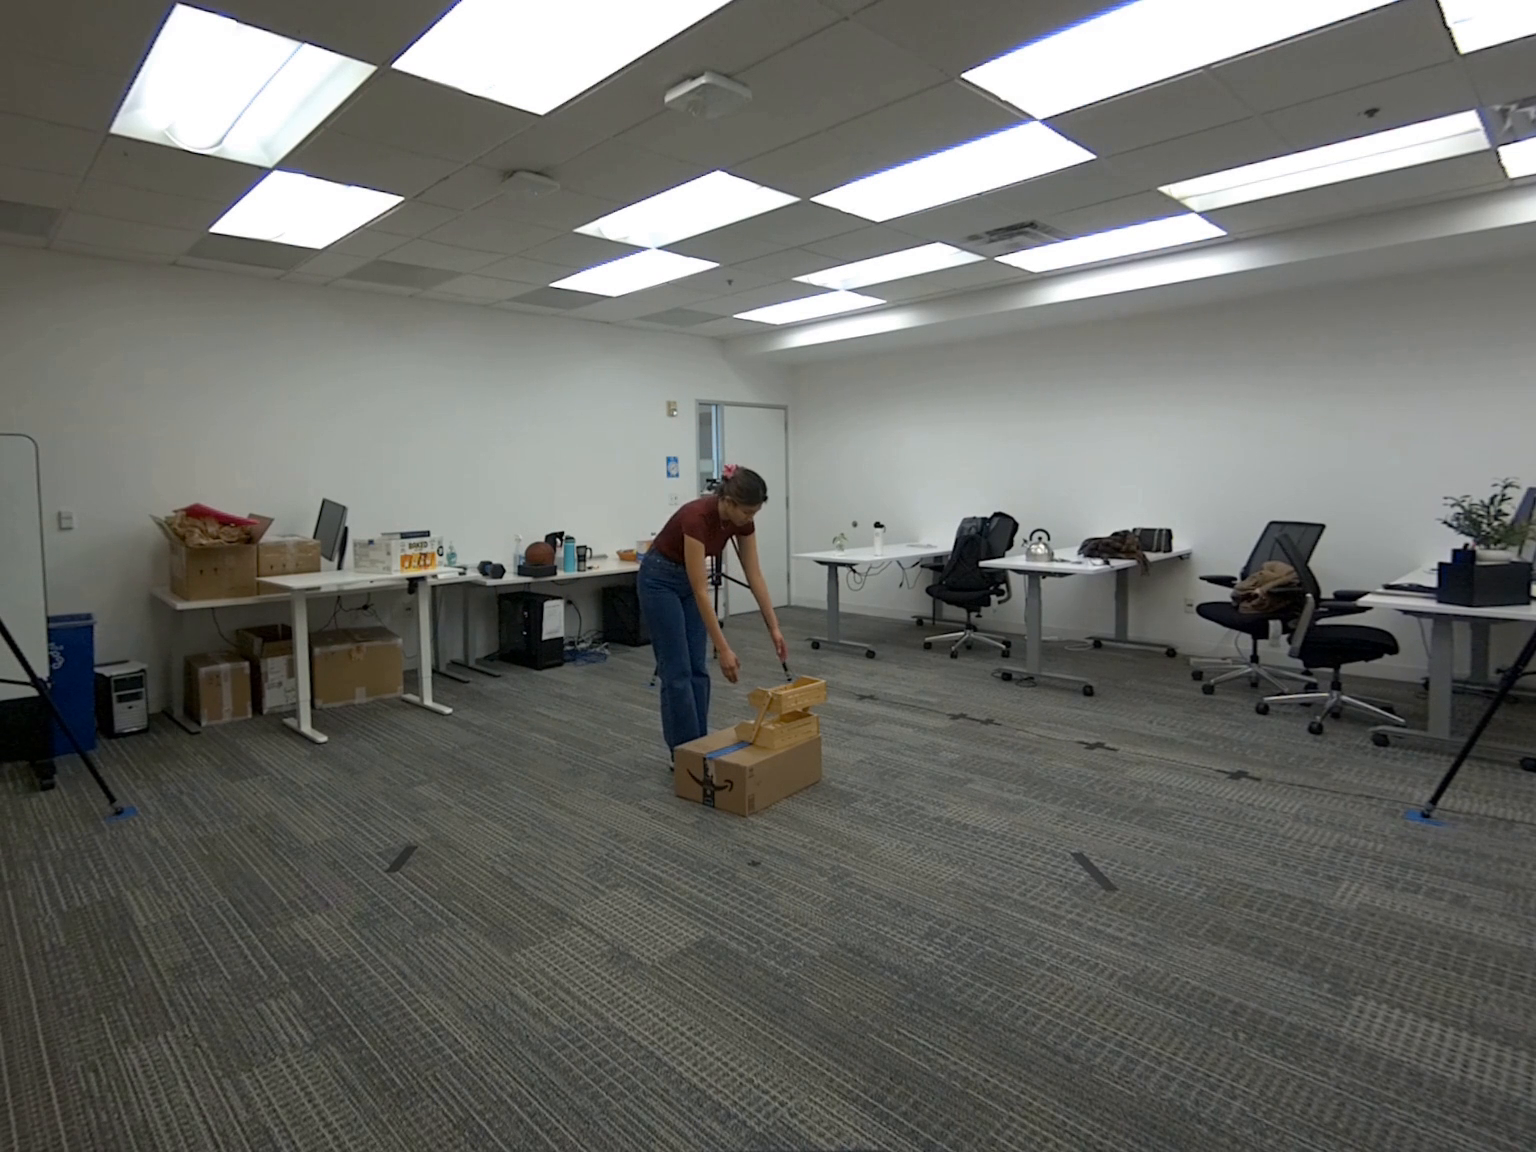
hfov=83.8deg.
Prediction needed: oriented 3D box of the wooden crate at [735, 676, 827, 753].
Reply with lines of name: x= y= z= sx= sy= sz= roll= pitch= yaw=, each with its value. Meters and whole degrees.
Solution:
wooden crate: x=0.053 y=0.605 z=3.899 sx=0.316 sy=0.272 sz=0.311 roll=-7 pitch=9 yaw=-43
